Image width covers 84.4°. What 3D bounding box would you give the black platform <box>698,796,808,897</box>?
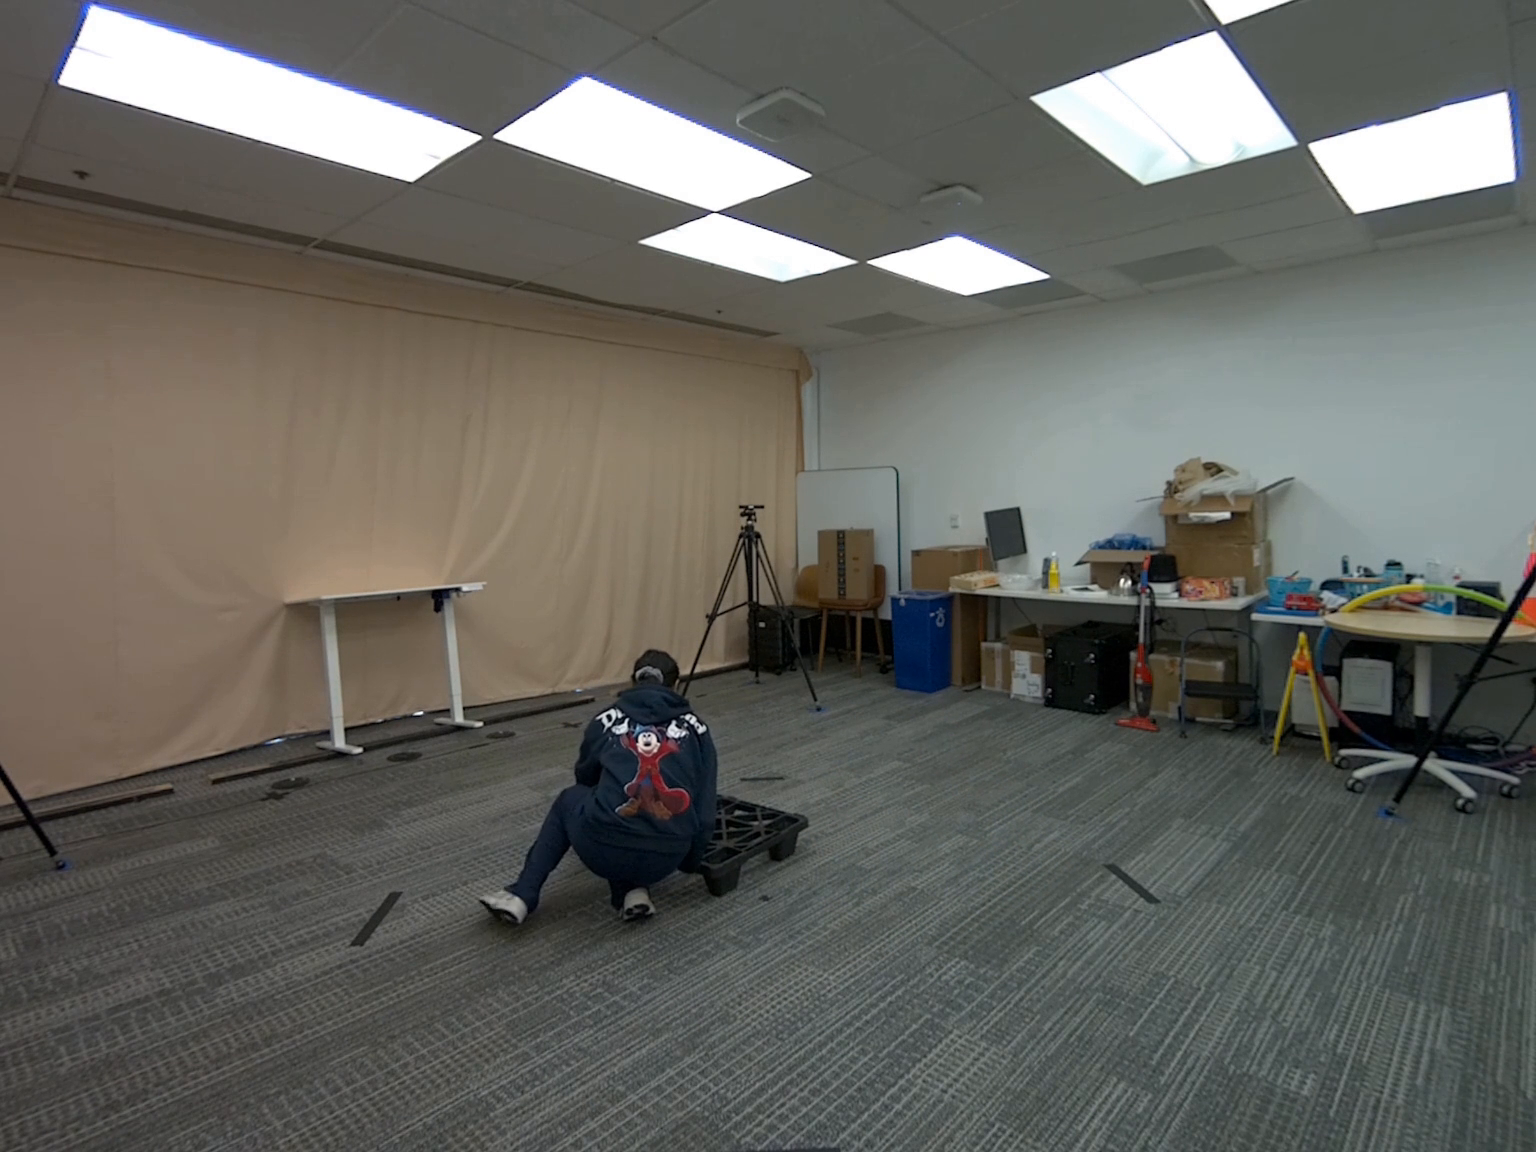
[{"bbox_3d":[-0.321,1.043,3.398,0.831,0.143,0.587,2,6,38],"label":"black platform"}]
